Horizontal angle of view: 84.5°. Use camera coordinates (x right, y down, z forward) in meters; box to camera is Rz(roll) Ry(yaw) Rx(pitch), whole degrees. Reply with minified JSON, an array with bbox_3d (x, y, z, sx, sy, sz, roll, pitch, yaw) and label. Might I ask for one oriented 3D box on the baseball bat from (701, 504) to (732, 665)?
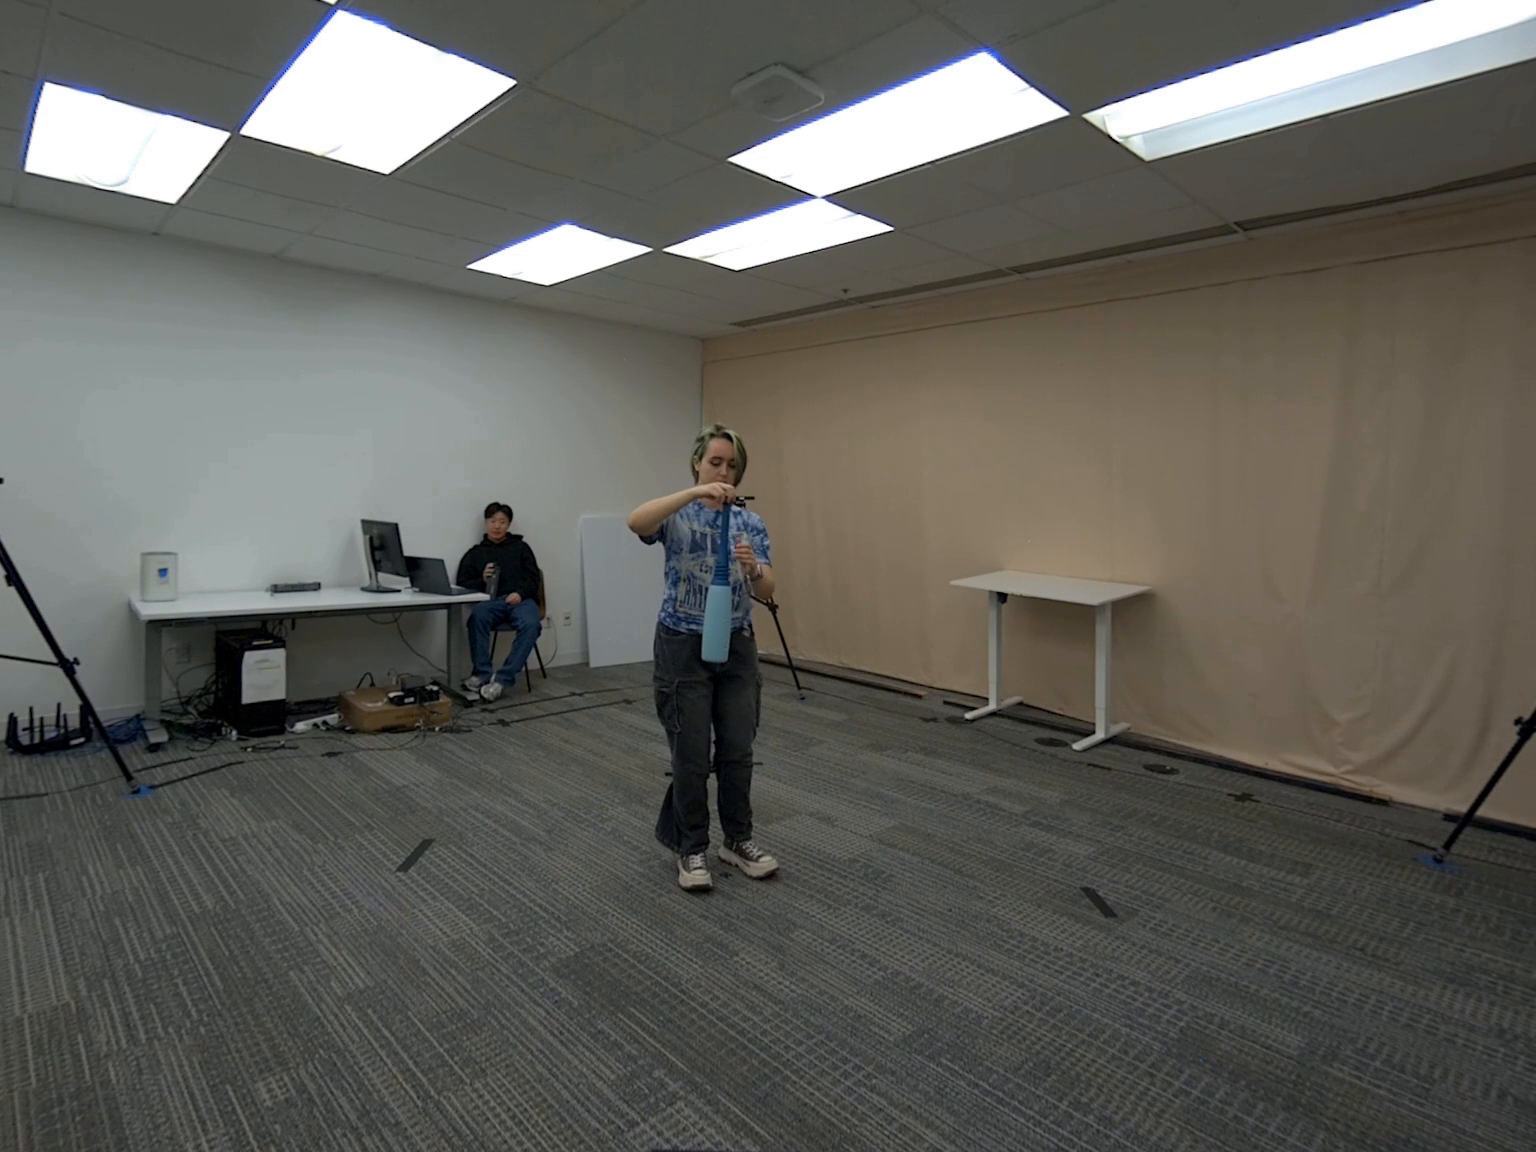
[{"bbox_3d":[-0.155,0.009,2.729,0.089,0.542,0.089,3,1,-1],"label":"baseball bat"}]
